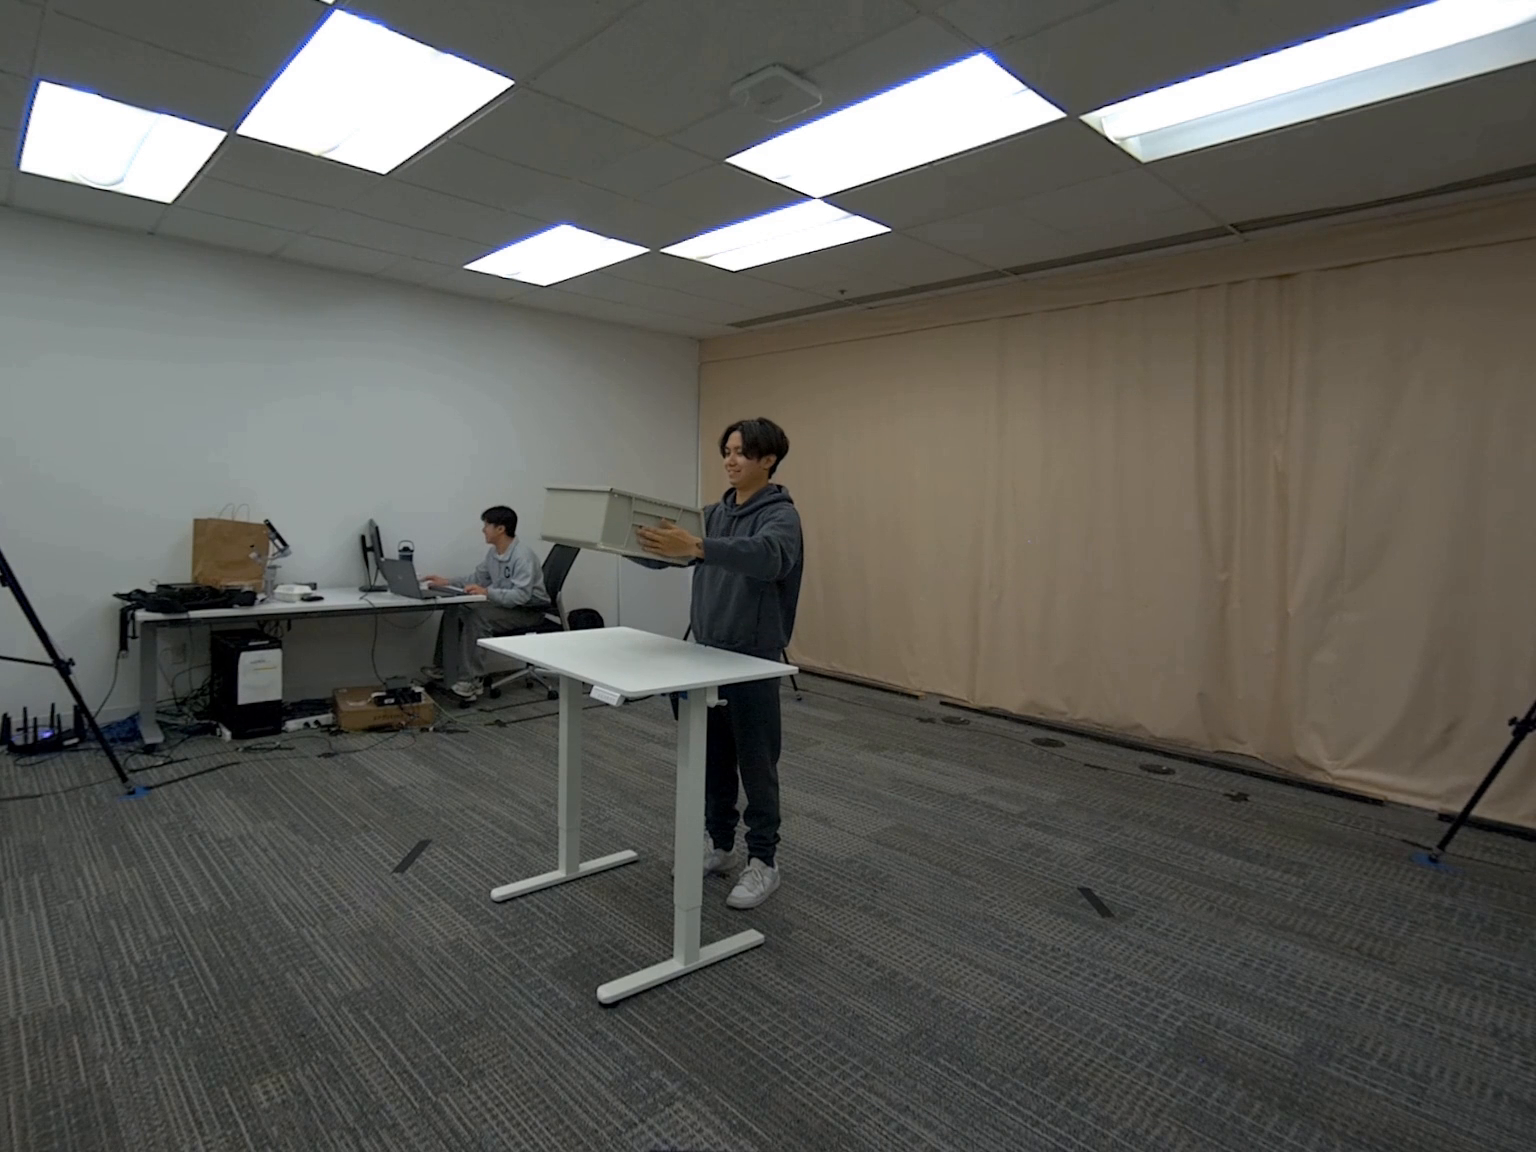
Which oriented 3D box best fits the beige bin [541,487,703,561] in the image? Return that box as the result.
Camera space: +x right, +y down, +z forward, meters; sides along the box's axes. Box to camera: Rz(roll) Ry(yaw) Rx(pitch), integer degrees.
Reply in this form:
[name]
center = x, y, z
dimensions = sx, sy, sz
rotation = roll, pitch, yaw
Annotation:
[beige bin]
center = -0.473, -0.154, 2.671
dimensions = 0.367, 0.189, 0.433
rotation = 11, -1, -41
